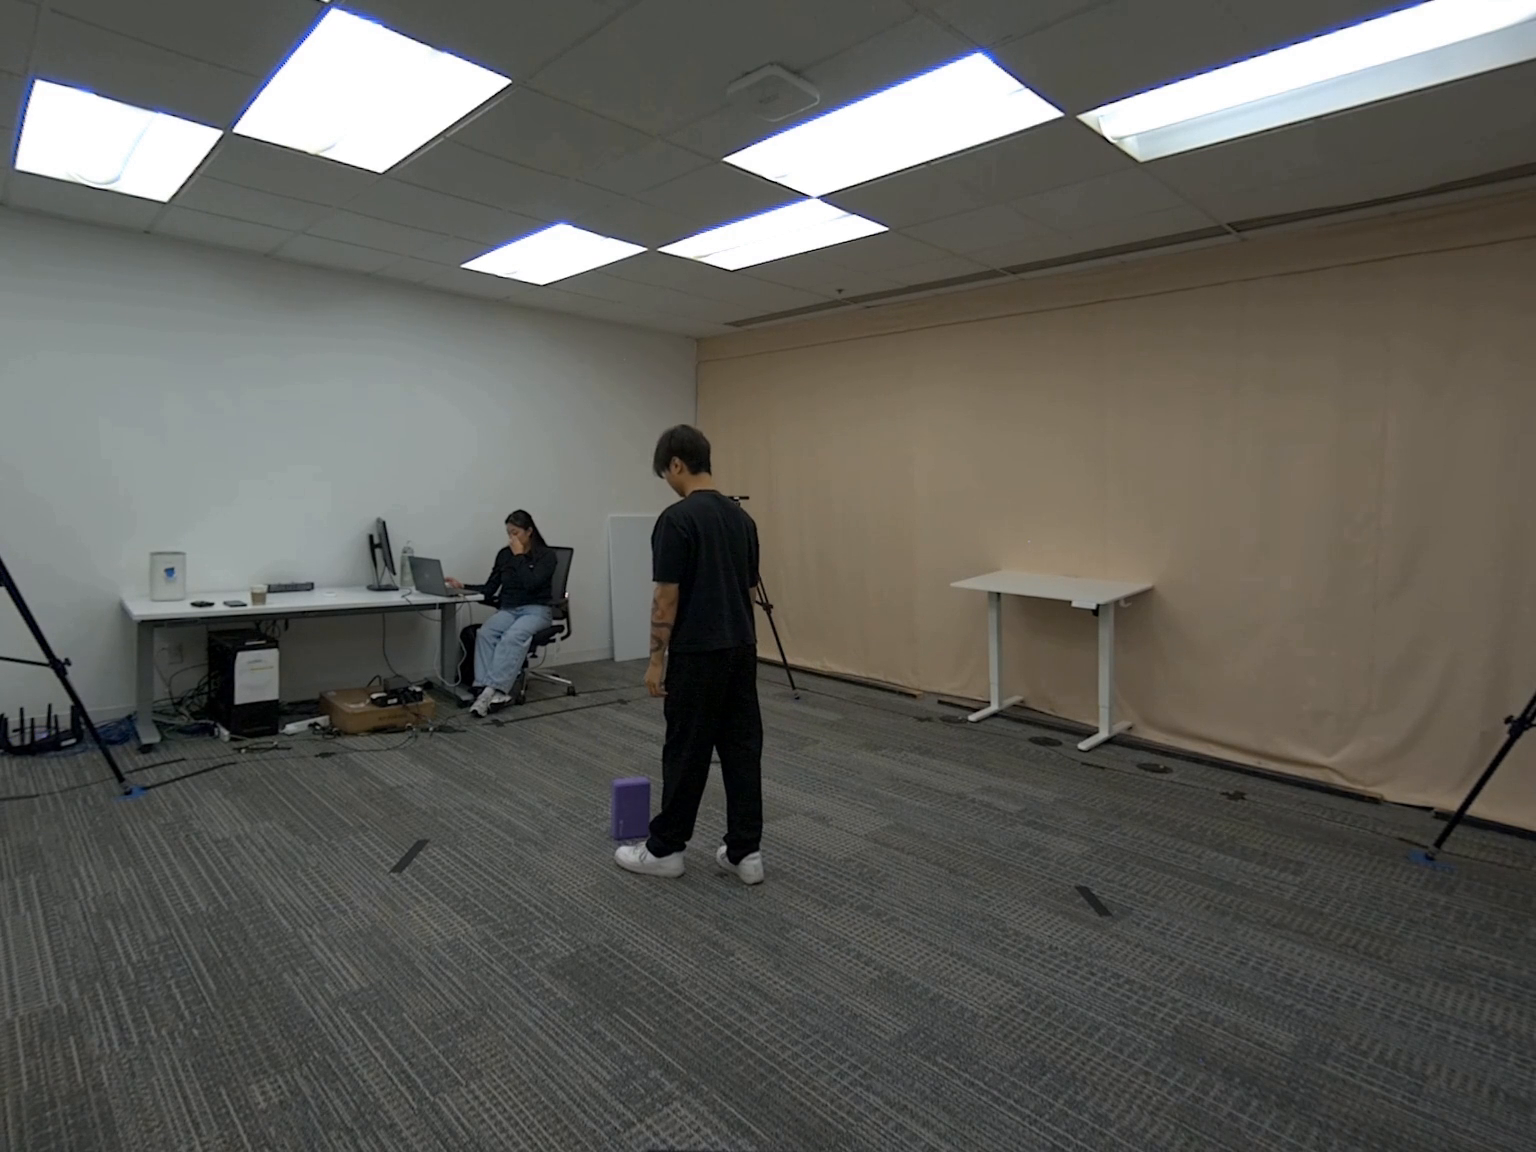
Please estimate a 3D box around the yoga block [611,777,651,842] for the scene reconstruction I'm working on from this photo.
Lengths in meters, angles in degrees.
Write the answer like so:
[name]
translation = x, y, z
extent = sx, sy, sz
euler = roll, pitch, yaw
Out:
[yoga block]
translation = -0.567, 0.947, 3.439
extent = 0.146, 0.229, 0.078
euler = -1, 3, -22
